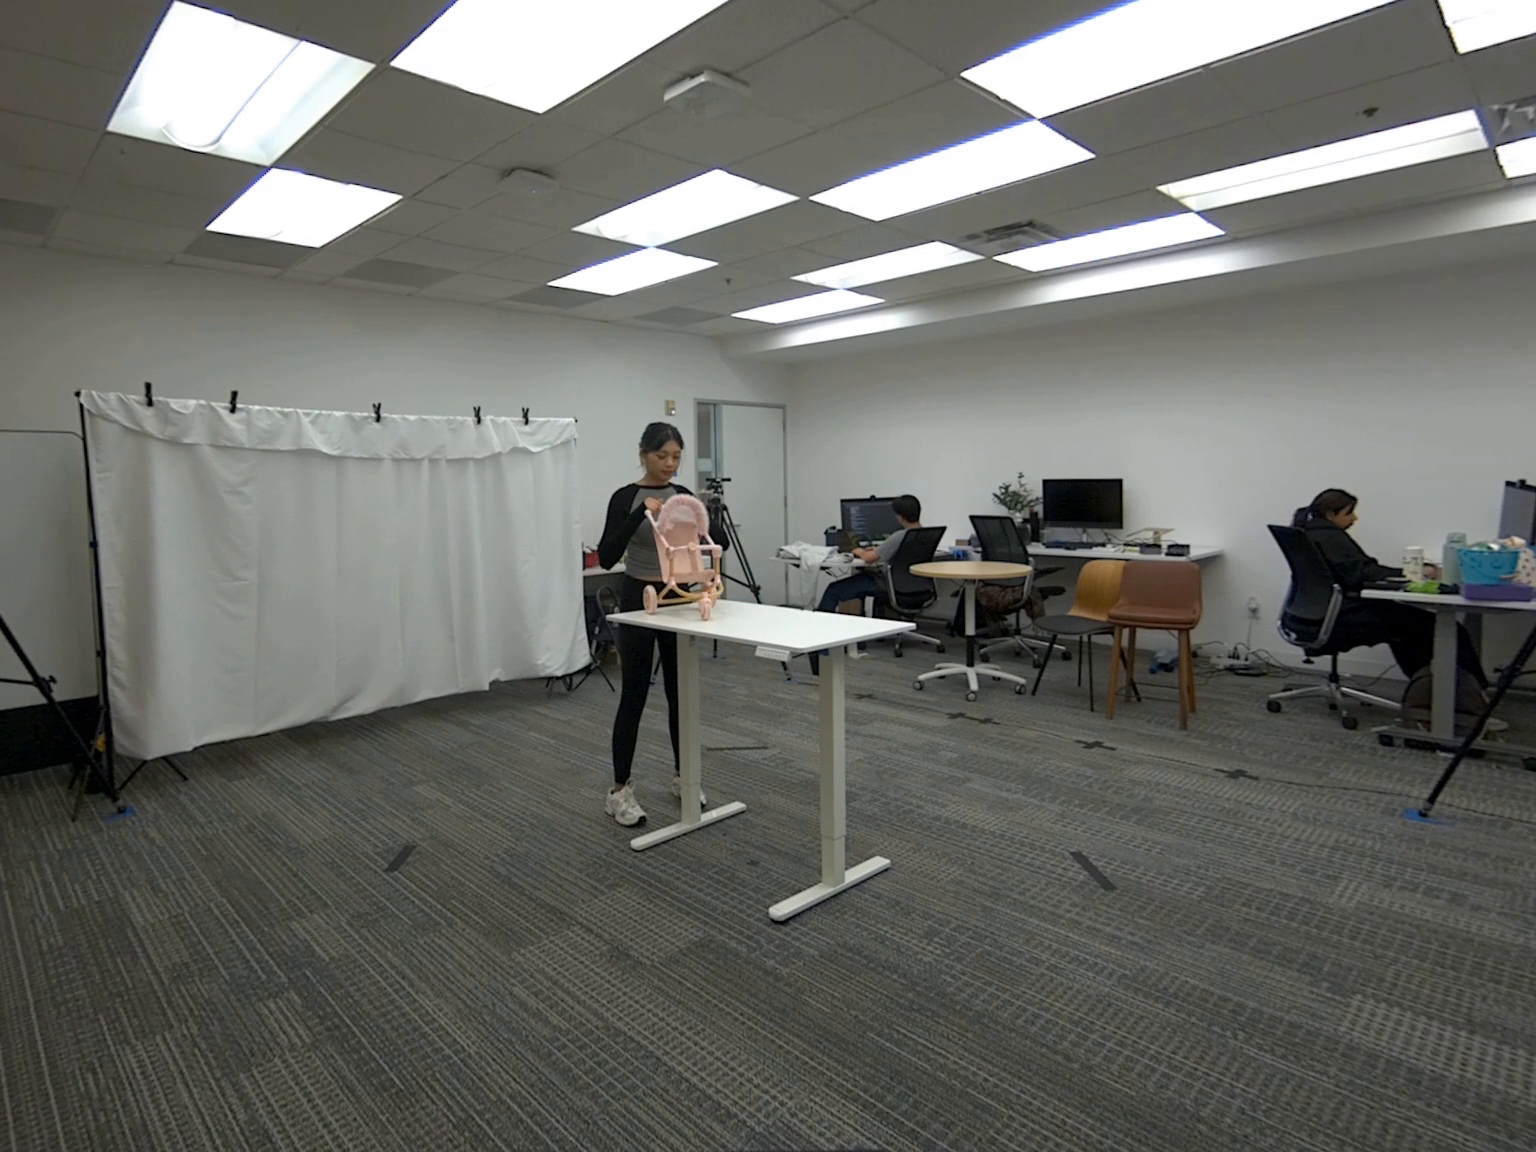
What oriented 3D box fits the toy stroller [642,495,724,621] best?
[{"bbox_3d":[-0.318,-0.077,3.275,0.276,0.542,0.344,-2,-13,-23],"label":"toy stroller"}]
